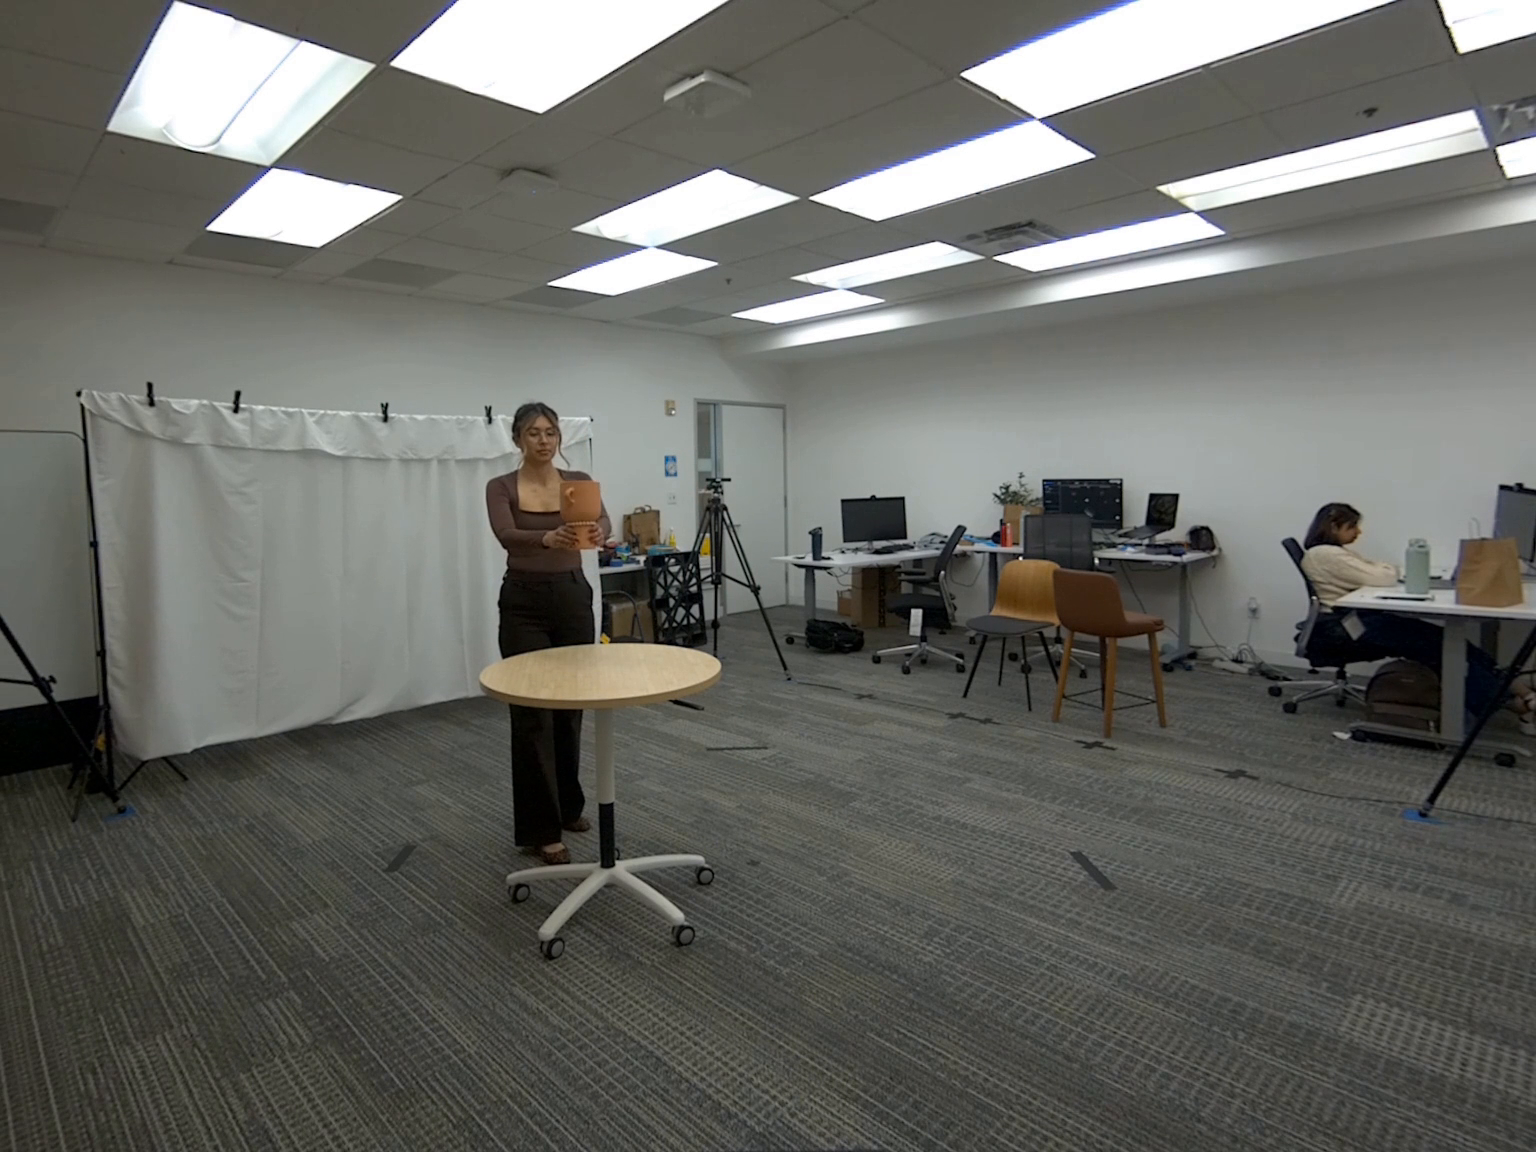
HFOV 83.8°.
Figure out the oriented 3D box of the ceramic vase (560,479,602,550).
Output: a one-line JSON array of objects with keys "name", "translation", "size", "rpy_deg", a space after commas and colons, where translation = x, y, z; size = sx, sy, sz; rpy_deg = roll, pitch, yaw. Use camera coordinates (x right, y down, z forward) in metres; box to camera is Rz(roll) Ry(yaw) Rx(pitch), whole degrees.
[{"name": "ceramic vase", "translation": [-0.610, -0.200, 2.816], "size": [0.154, 0.220, 0.138], "rpy_deg": [-1, 1, -37]}]
